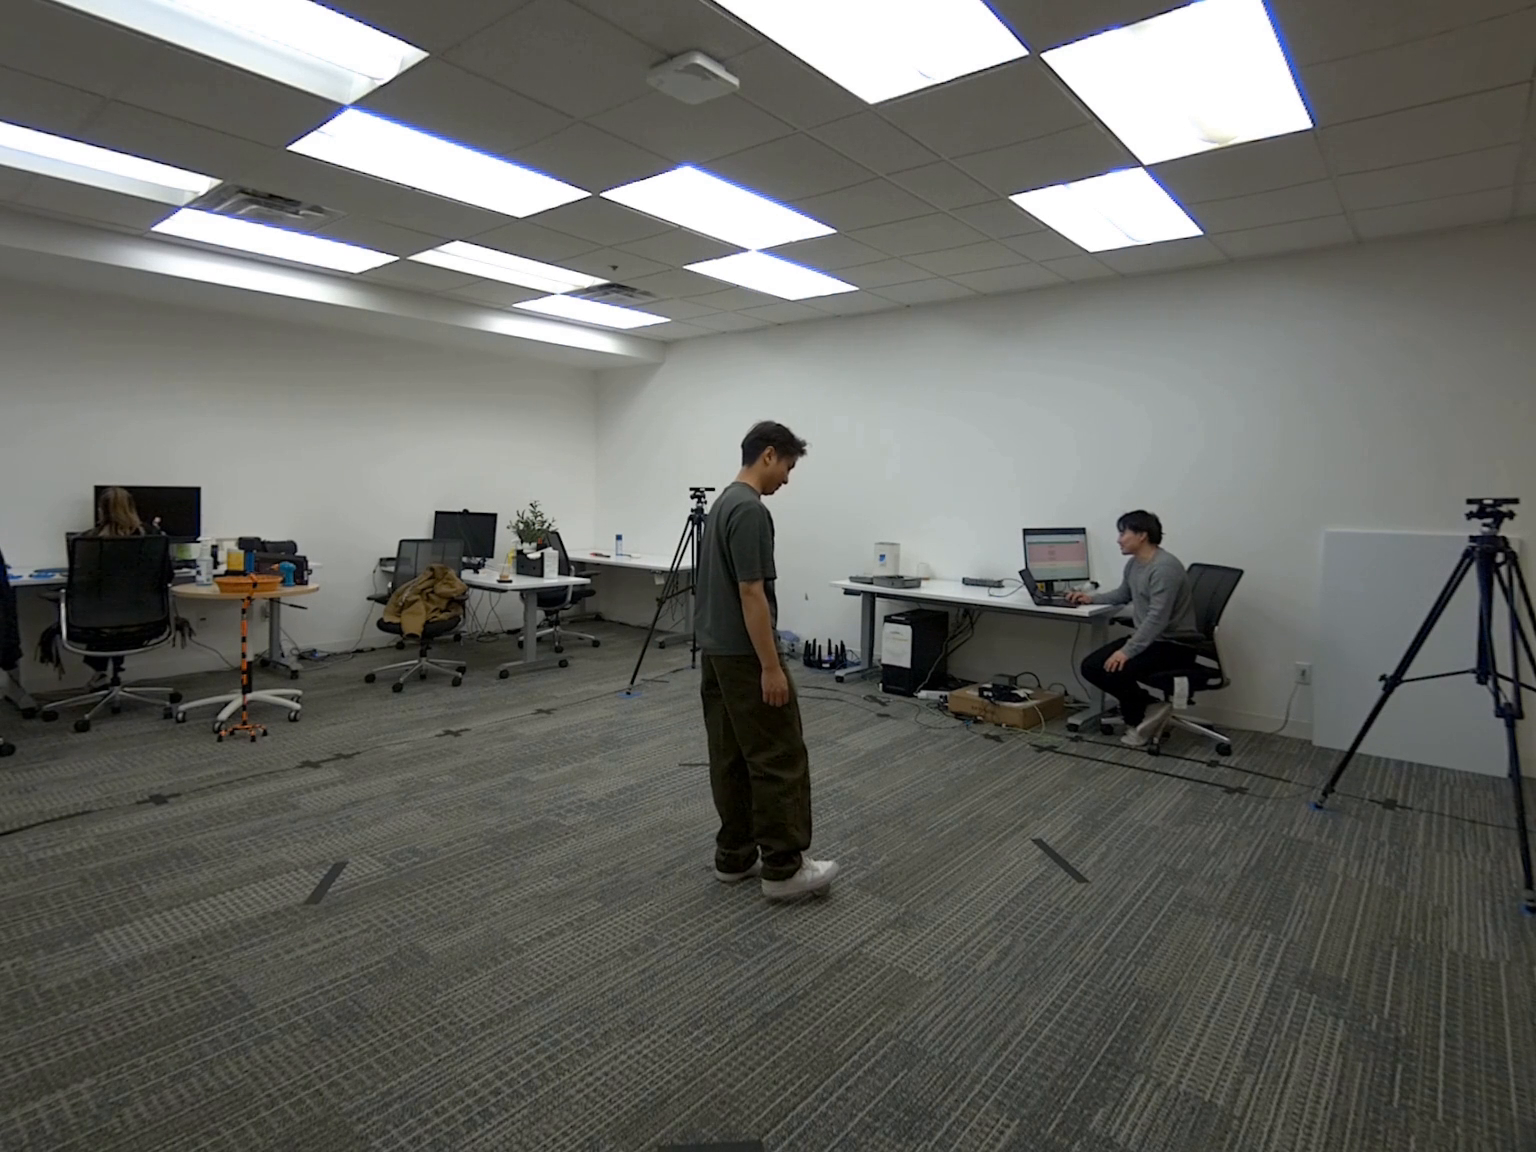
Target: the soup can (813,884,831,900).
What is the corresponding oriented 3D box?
[{"bbox_3d":[0.176,1.050,2.961,0.067,0.067,0.122,1,7,-4],"label":"soup can"}]
